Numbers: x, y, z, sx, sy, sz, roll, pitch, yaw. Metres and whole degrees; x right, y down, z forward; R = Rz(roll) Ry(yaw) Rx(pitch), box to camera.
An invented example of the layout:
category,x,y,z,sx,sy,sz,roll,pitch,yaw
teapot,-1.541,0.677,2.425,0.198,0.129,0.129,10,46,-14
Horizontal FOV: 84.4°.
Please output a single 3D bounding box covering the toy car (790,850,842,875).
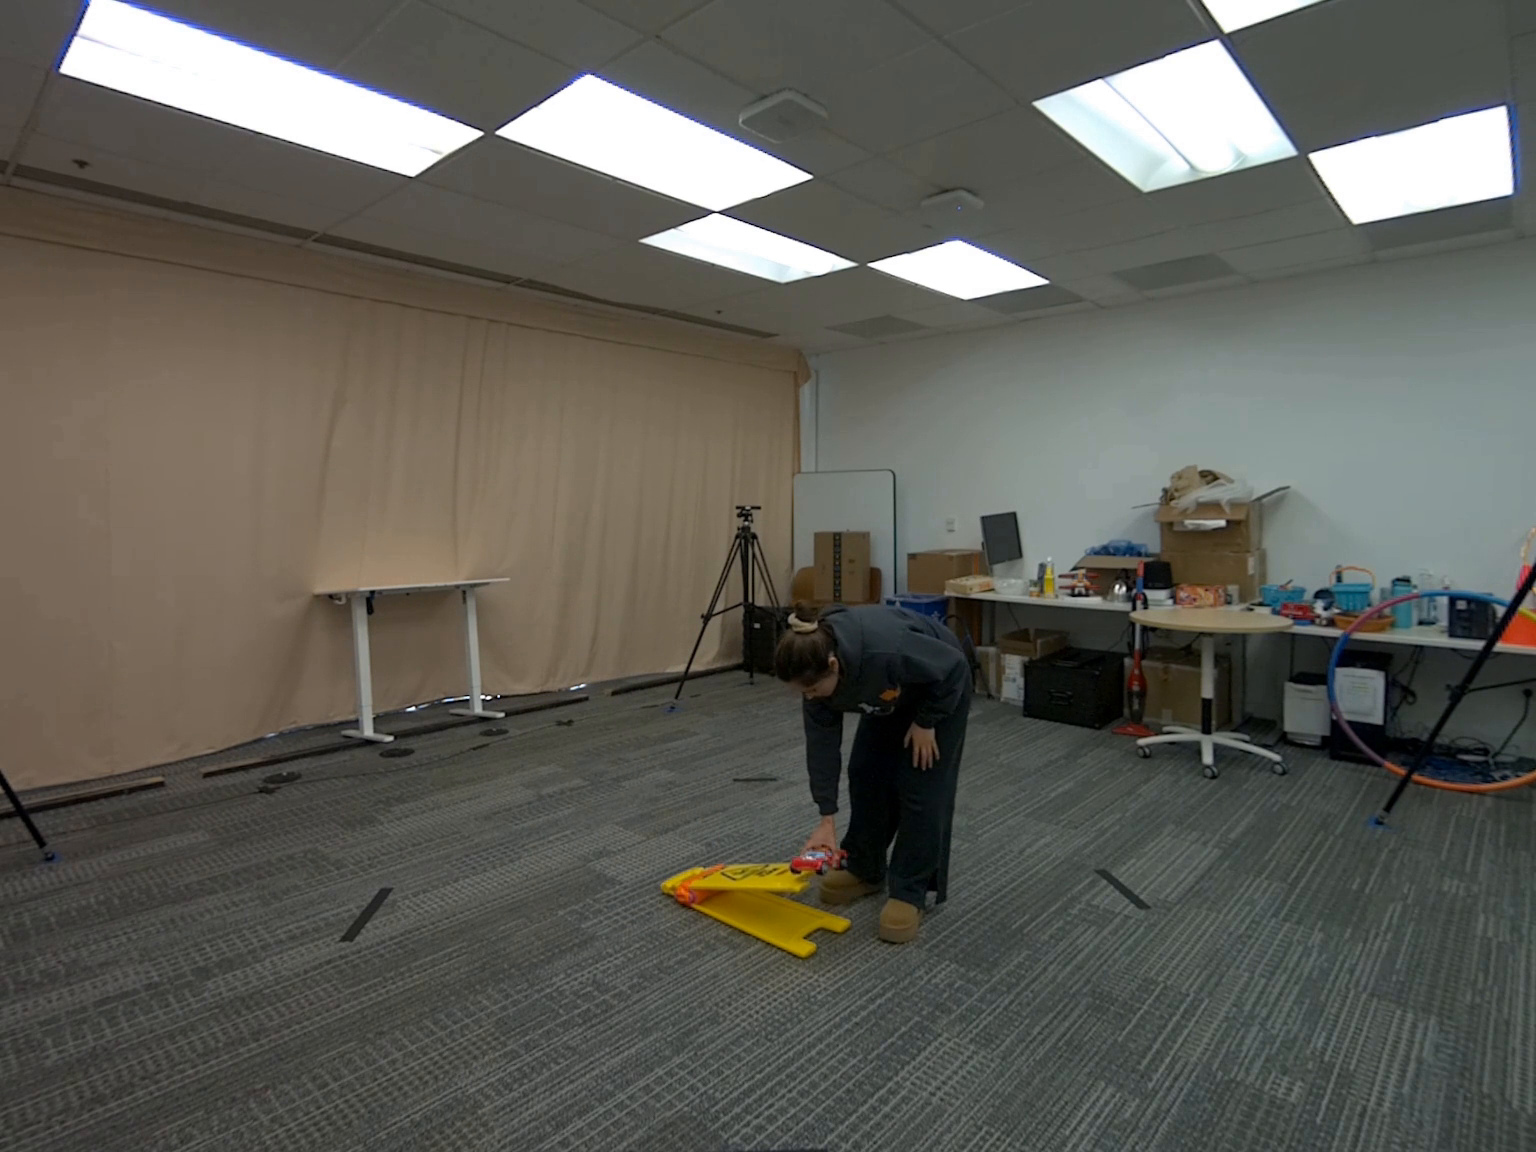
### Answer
category,x,y,z,sx,sy,sz,roll,pitch,yaw
toy car,0.198,0.920,2.712,0.133,0.083,0.247,-10,-5,28
